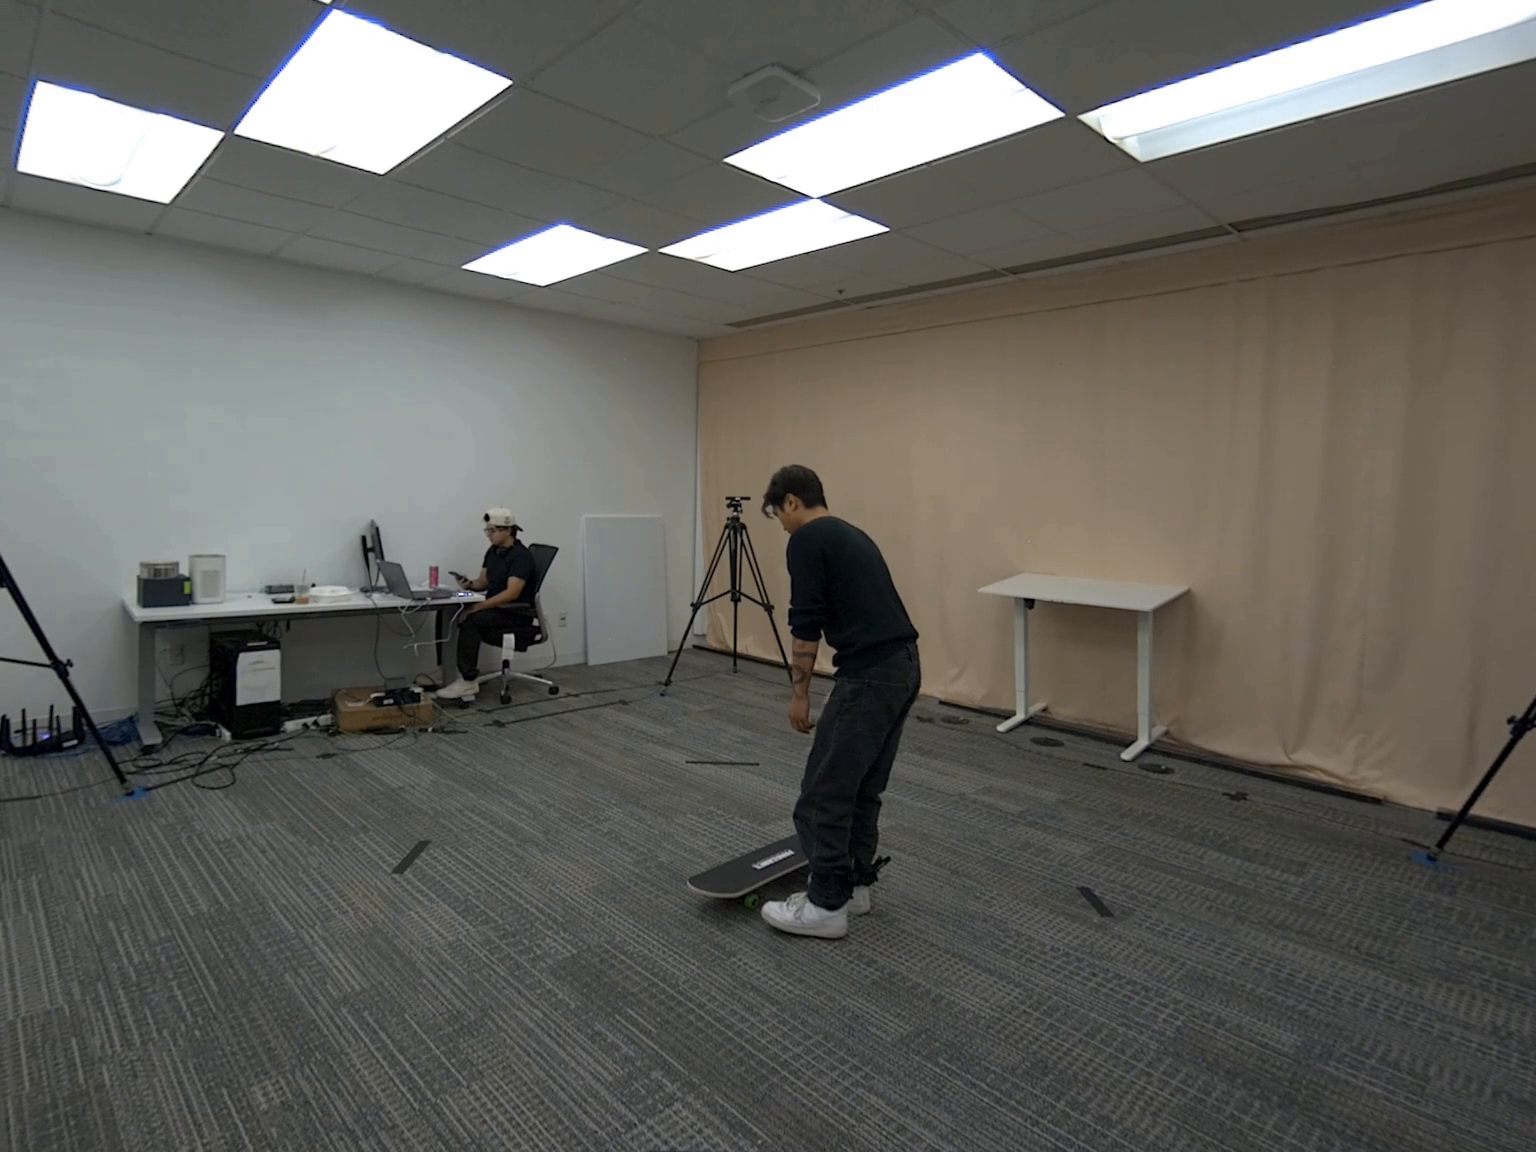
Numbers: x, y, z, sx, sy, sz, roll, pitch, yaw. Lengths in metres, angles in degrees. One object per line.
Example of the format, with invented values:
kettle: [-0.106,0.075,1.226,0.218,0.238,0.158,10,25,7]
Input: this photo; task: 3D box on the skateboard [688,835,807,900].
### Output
skateboard: [0.016,1.052,3.044,0.198,0.110,0.768,5,6,42]
